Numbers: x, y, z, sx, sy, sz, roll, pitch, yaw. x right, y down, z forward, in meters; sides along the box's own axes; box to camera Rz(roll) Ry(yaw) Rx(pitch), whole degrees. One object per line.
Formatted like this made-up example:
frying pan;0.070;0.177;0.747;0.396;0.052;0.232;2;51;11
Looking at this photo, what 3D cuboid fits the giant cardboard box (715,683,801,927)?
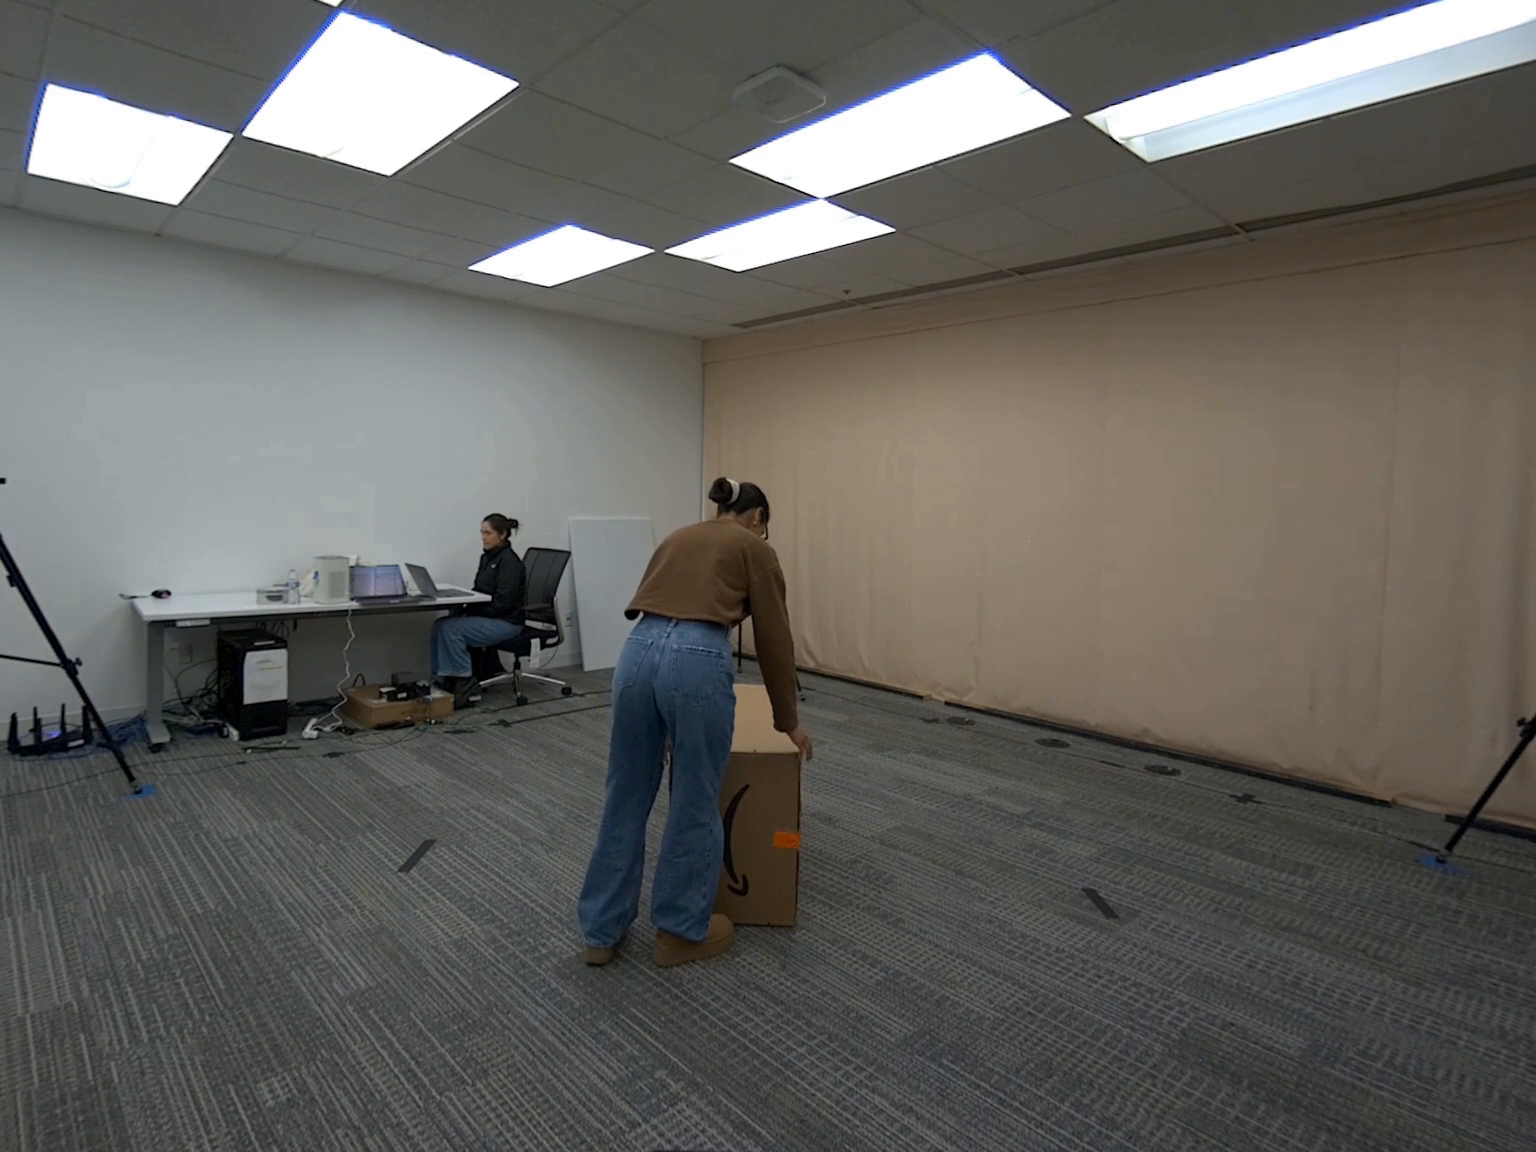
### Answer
giant cardboard box;-0.114;0.809;3.236;0.426;0.576;1.028;2;5;-1
